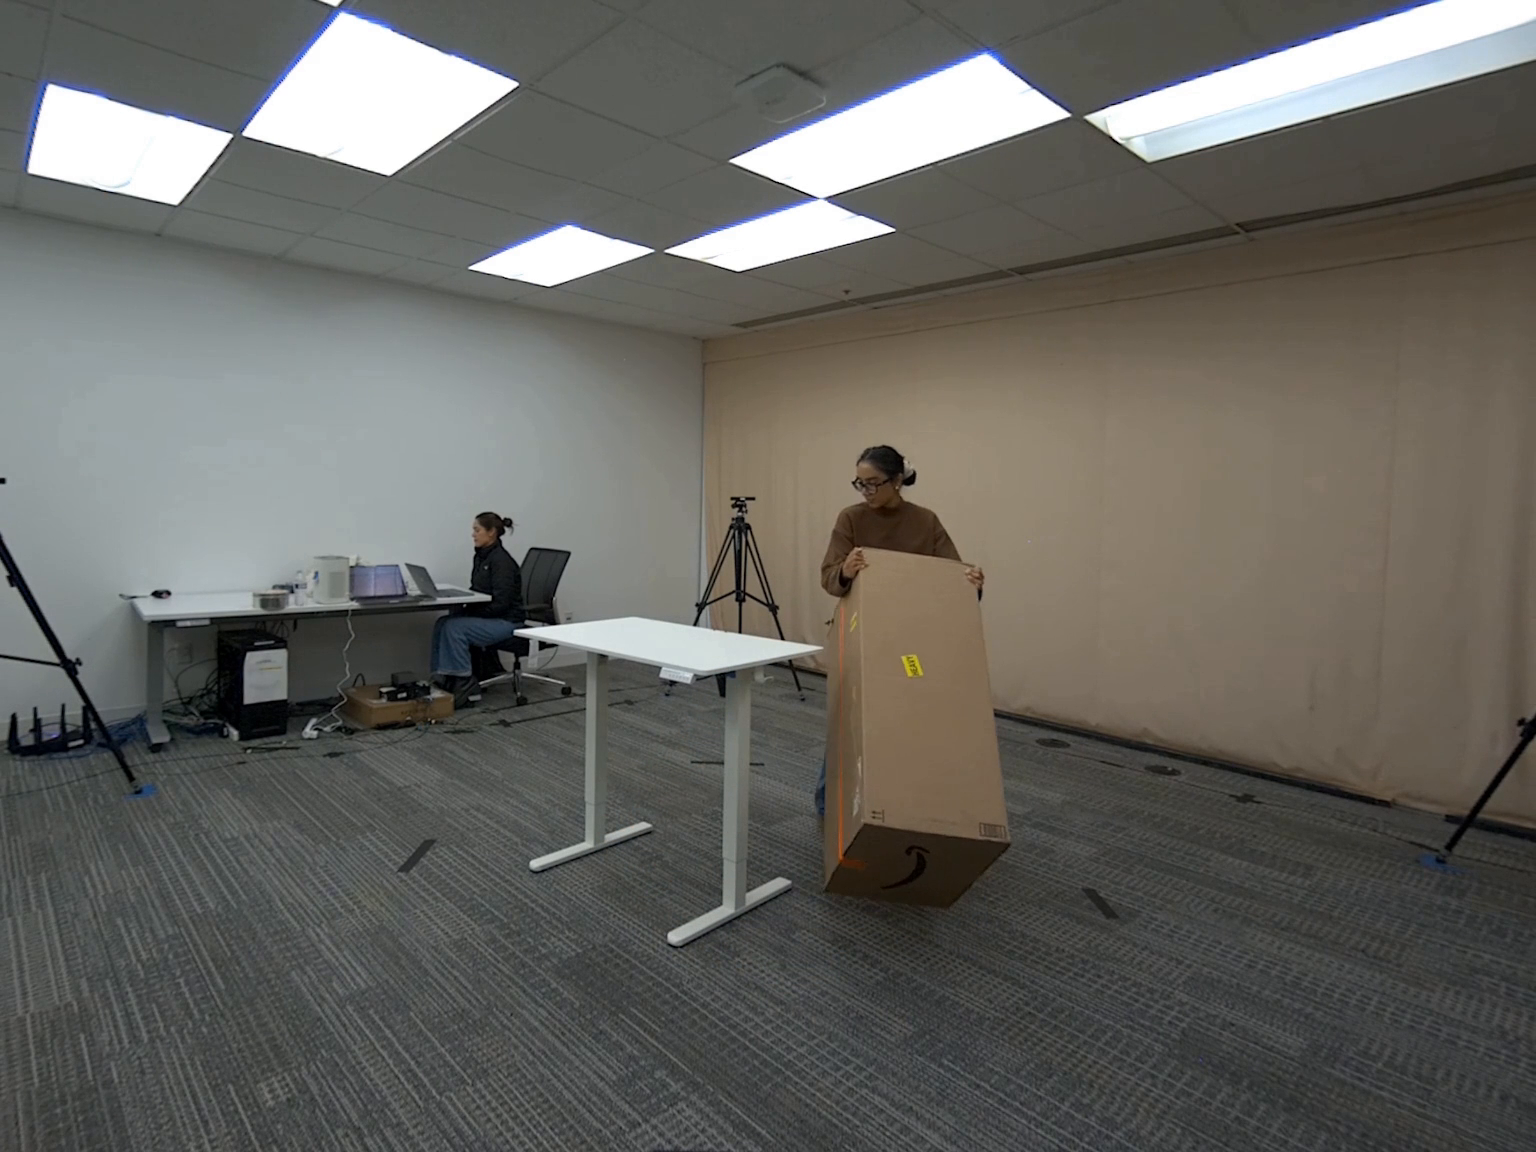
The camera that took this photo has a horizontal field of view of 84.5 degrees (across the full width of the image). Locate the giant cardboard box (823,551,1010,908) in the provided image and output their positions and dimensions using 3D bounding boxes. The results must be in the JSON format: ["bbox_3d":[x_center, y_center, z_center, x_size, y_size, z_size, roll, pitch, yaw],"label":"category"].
[{"bbox_3d":[0.454,0.510,2.883,0.425,1.046,0.568,8,-40,-4],"label":"giant cardboard box"}]
